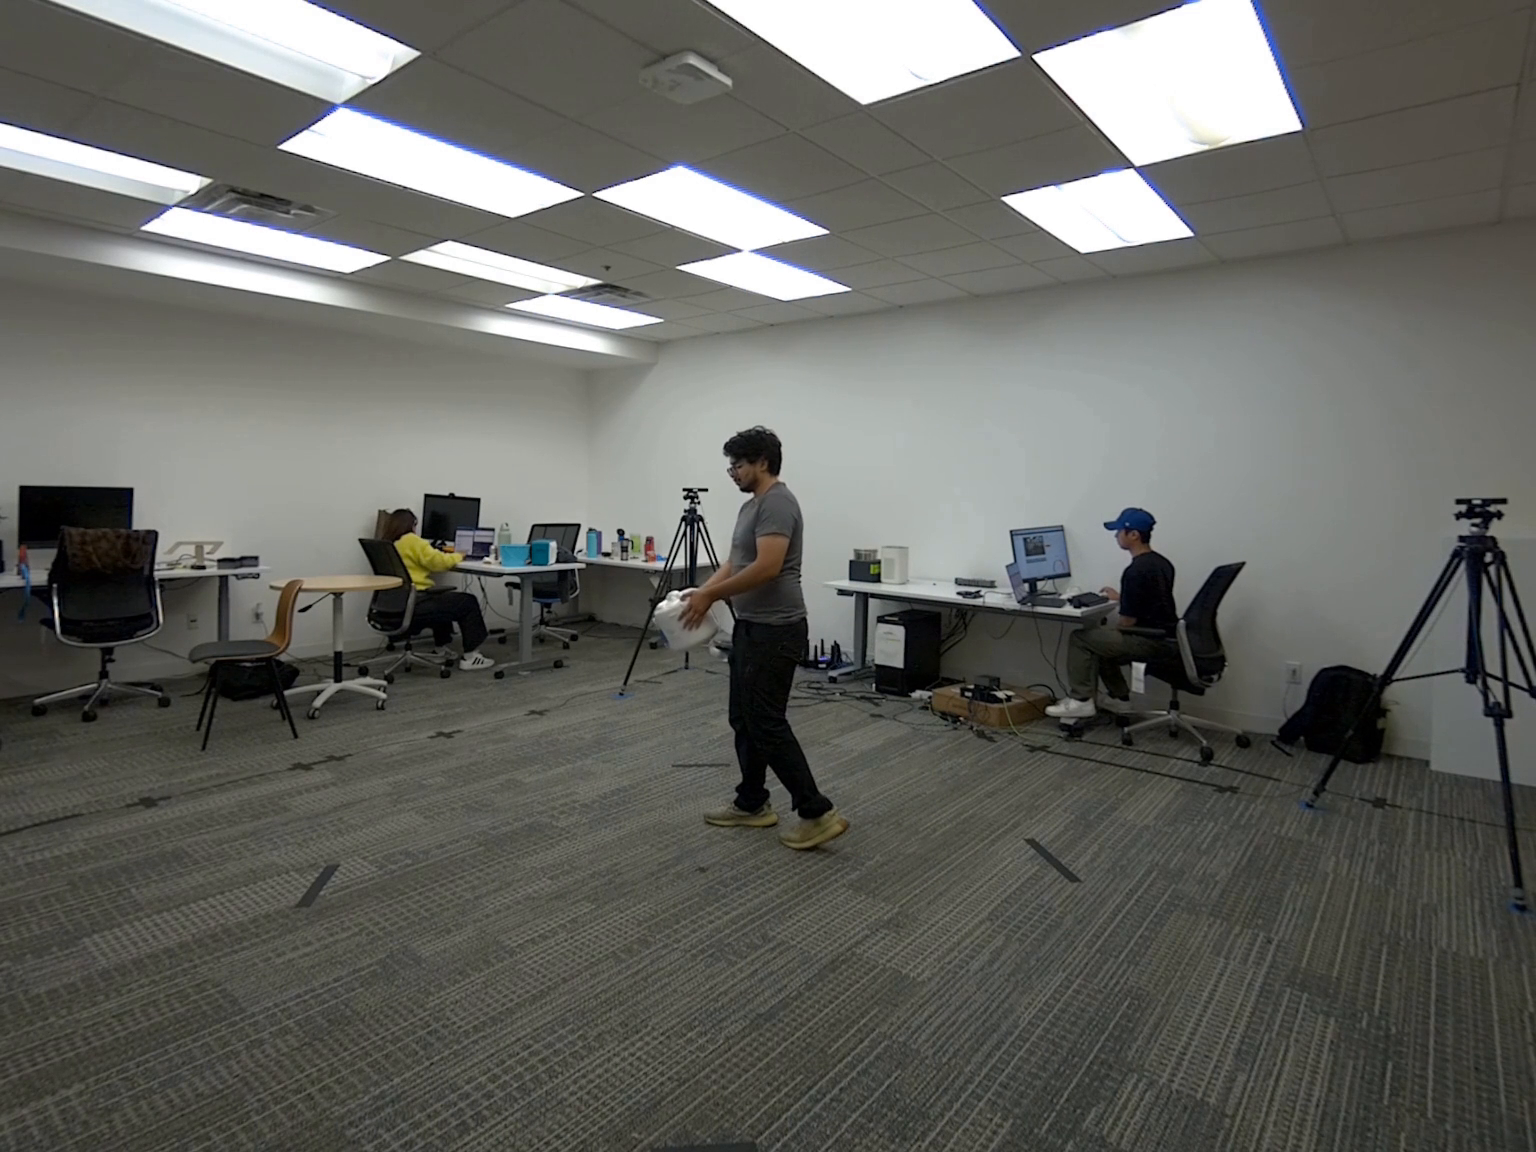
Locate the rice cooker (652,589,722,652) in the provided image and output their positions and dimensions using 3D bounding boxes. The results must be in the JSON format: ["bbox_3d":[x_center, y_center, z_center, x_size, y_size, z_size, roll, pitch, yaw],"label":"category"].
[{"bbox_3d":[-0.335,0.164,3.403,0.215,0.230,0.225,-30,9,-22],"label":"rice cooker"}]
